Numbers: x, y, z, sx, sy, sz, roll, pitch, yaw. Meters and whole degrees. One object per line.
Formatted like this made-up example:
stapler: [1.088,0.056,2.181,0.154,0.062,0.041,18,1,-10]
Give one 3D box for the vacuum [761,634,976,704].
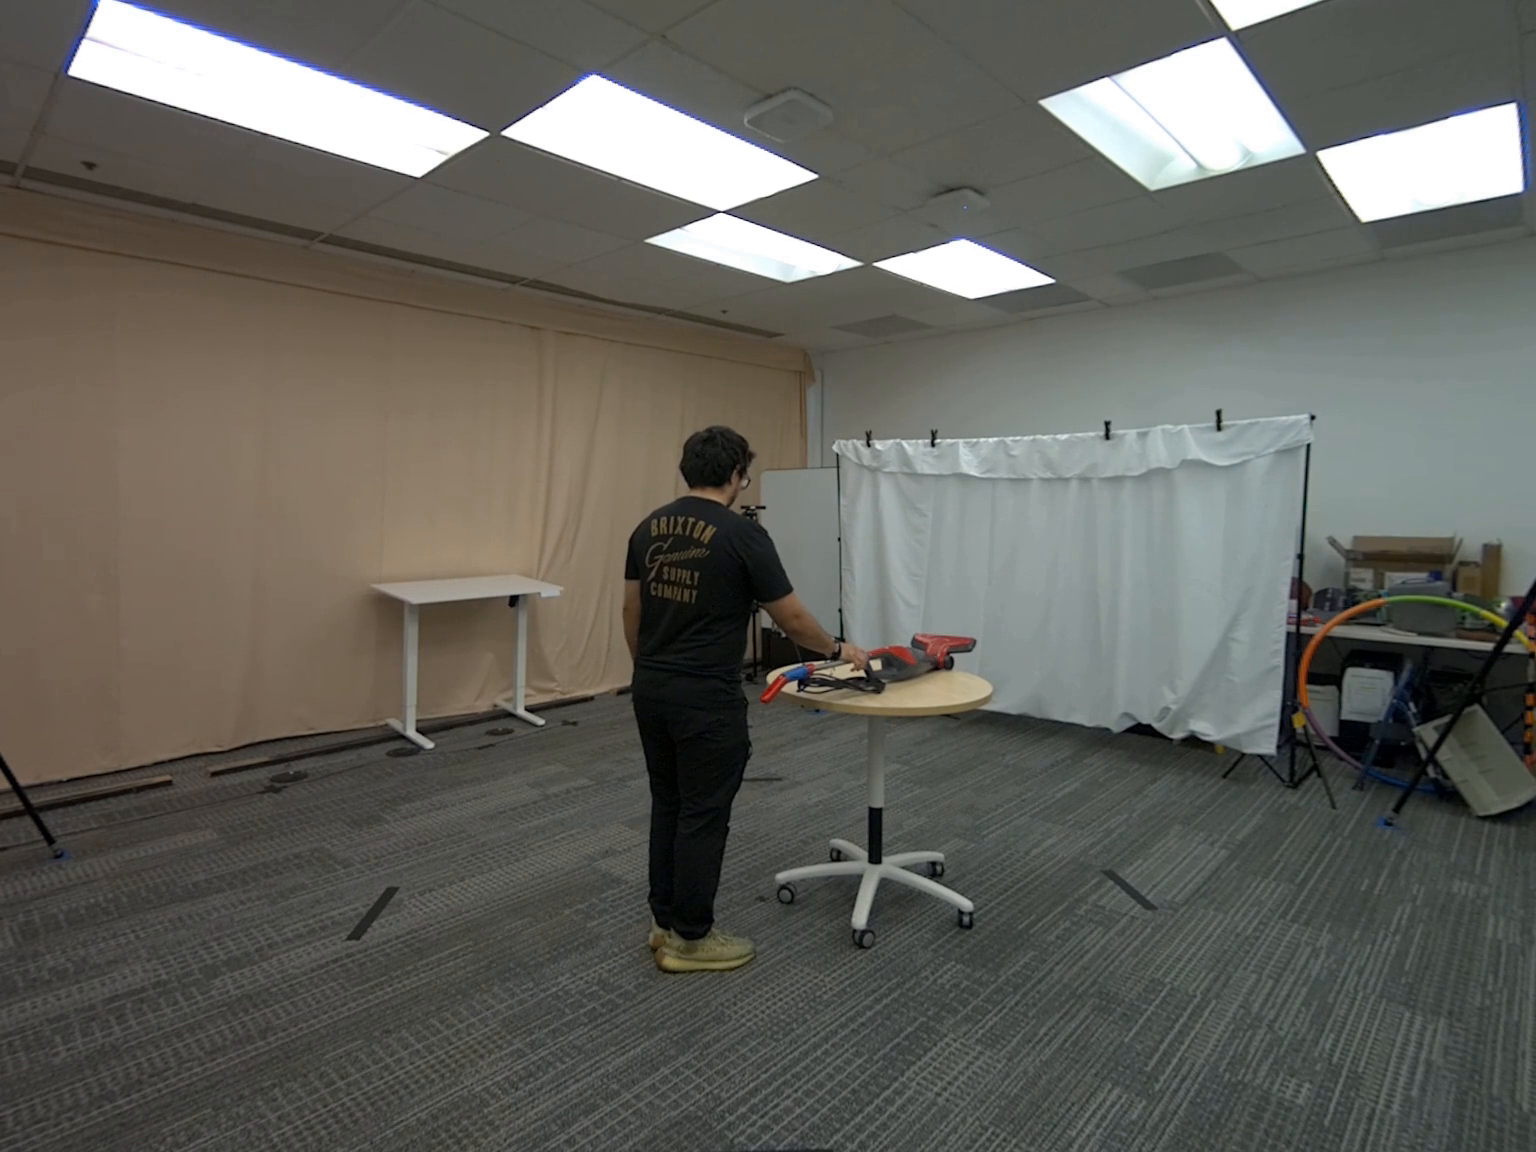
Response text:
vacuum: [0.335,0.323,2.785,0.260,0.144,1.017,-5,-1,42]
